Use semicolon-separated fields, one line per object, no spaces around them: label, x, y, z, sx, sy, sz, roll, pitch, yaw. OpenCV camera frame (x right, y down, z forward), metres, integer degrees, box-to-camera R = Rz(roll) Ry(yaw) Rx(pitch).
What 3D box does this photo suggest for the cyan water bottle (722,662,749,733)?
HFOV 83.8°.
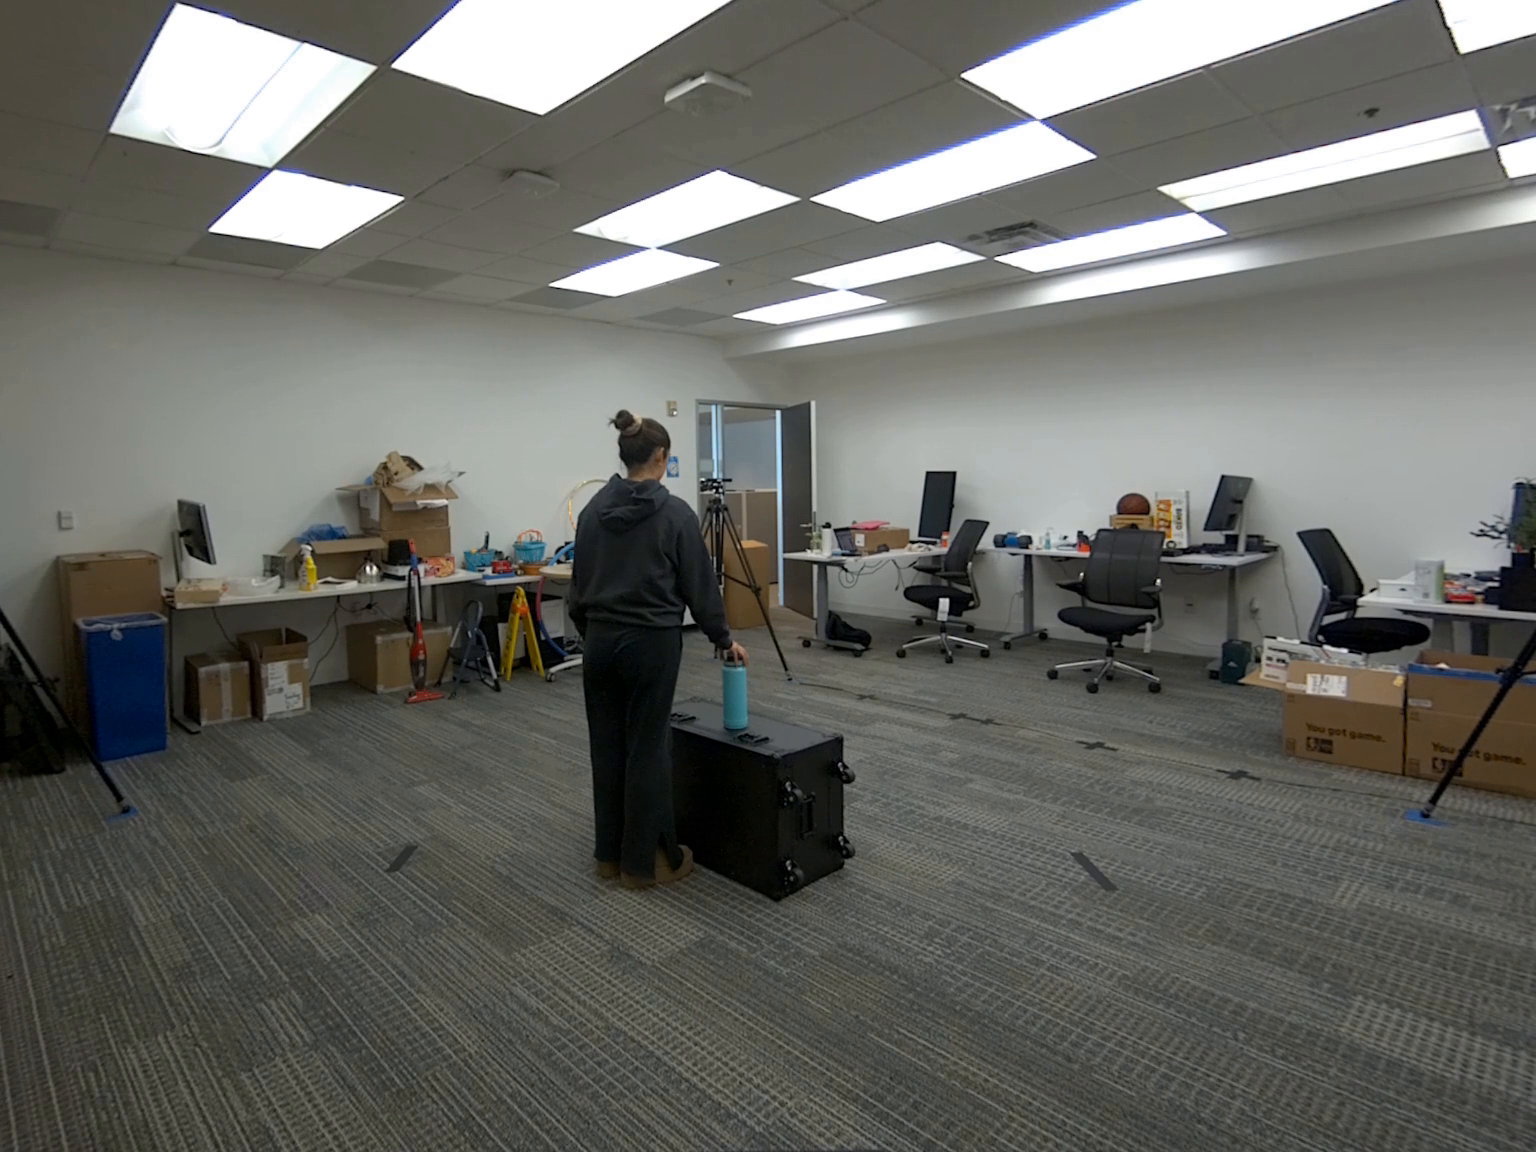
cyan water bottle;-0.117;0.423;3.157;0.092;0.283;0.092;-1;0;-2
